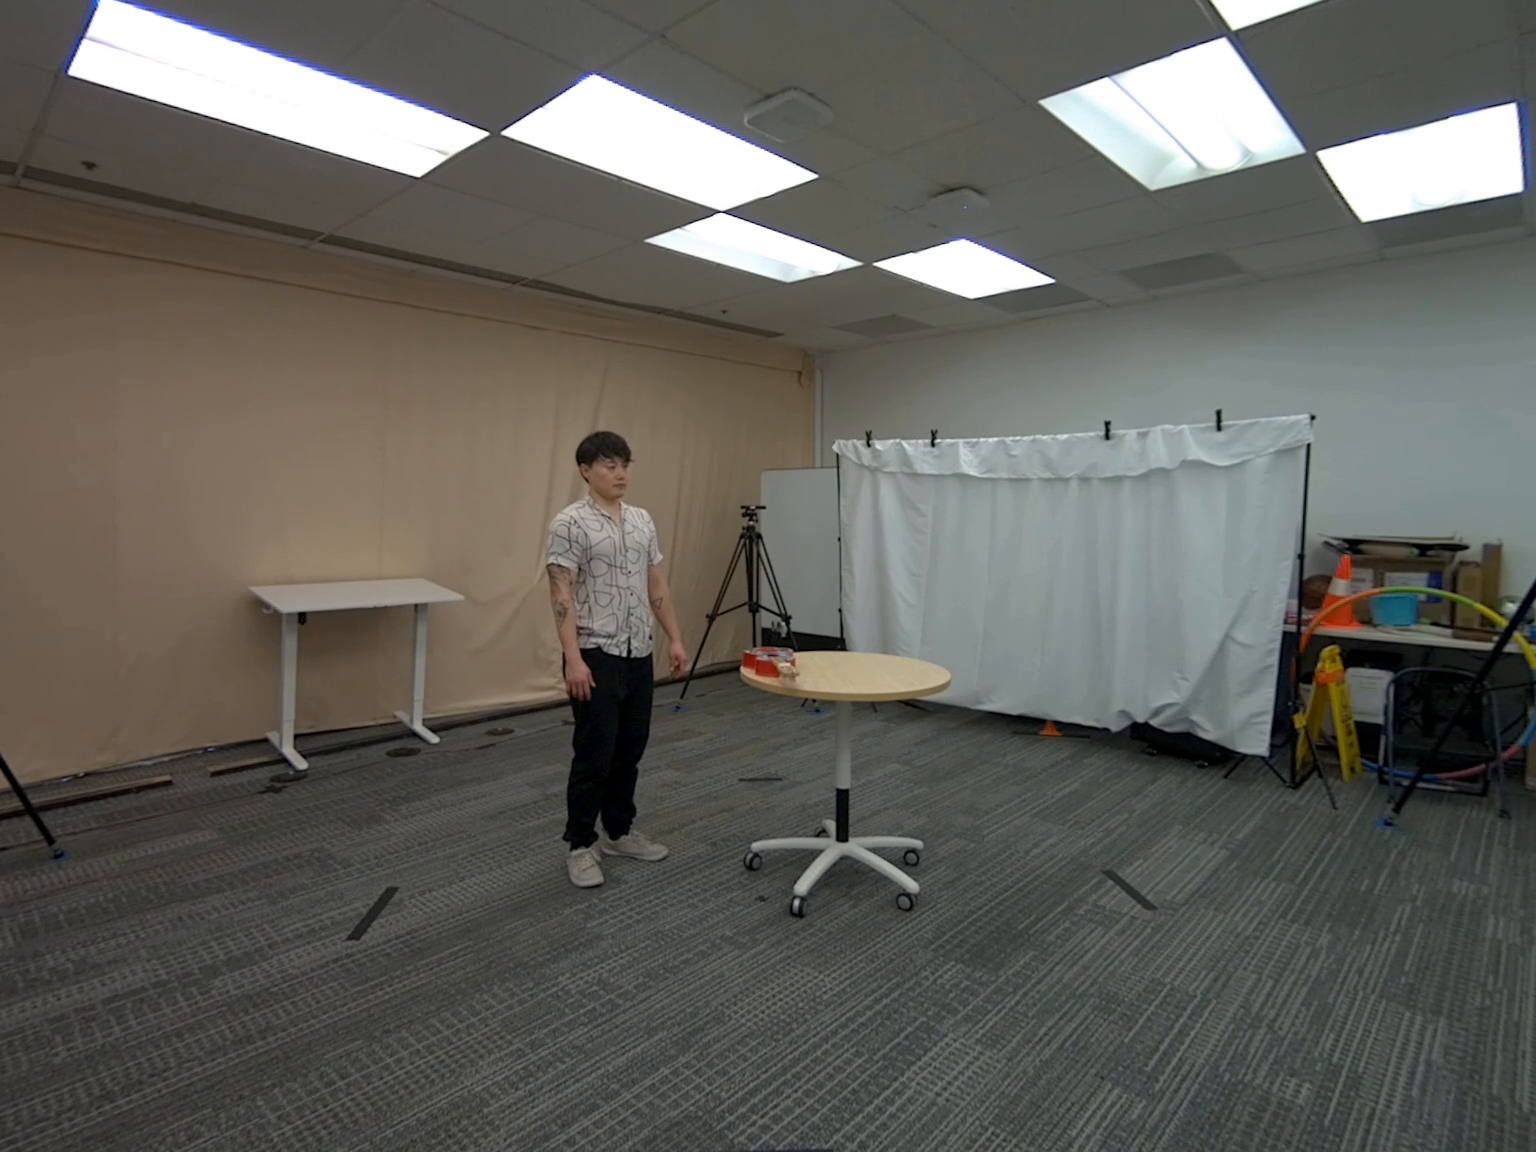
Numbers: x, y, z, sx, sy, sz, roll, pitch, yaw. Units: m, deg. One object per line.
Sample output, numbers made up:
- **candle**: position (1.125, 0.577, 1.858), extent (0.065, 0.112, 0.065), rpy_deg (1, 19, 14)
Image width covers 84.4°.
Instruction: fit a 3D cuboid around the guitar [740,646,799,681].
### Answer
- **guitar**: position (0.006, 0.326, 3.003), extent (0.193, 0.070, 0.499), rpy_deg (1, 5, -1)
